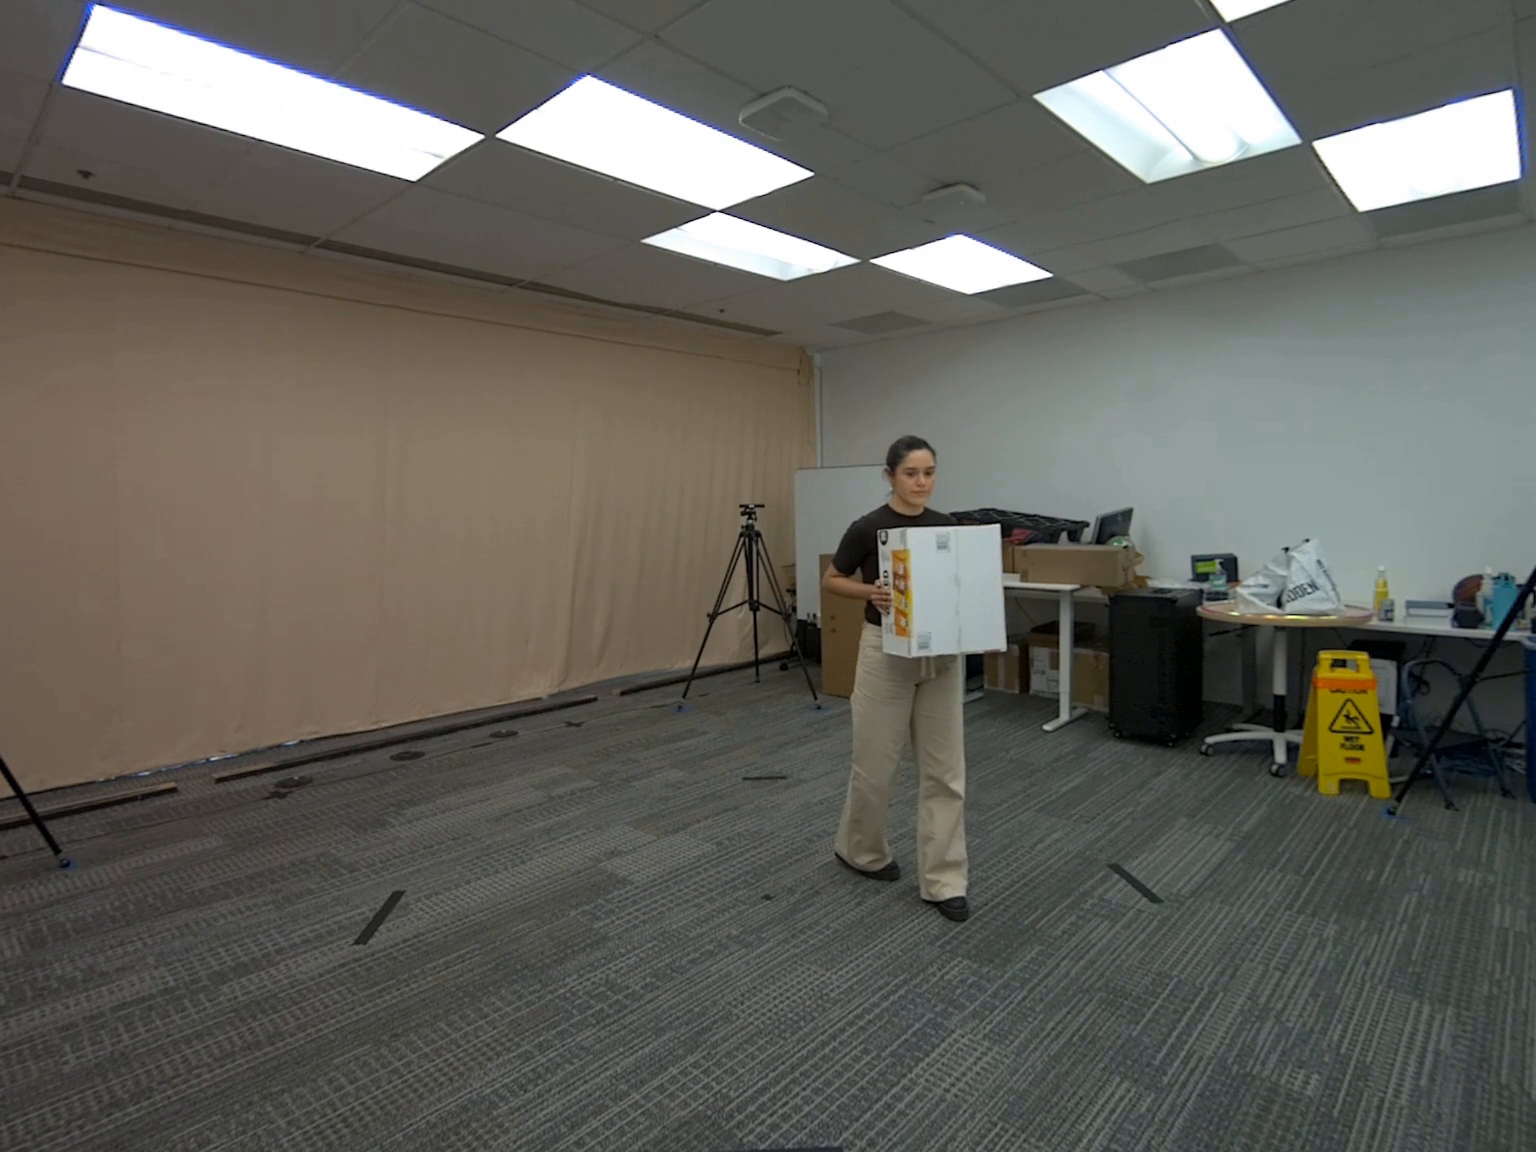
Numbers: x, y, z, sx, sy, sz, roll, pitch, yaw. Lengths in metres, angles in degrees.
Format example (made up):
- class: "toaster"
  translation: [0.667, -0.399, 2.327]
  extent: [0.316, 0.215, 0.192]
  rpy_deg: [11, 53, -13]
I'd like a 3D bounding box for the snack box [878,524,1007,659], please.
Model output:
- class: "snack box"
  translation: [0.560, 0.045, 2.748]
  extent: [0.335, 0.405, 0.209]
  rpy_deg: [-2, -1, -16]
